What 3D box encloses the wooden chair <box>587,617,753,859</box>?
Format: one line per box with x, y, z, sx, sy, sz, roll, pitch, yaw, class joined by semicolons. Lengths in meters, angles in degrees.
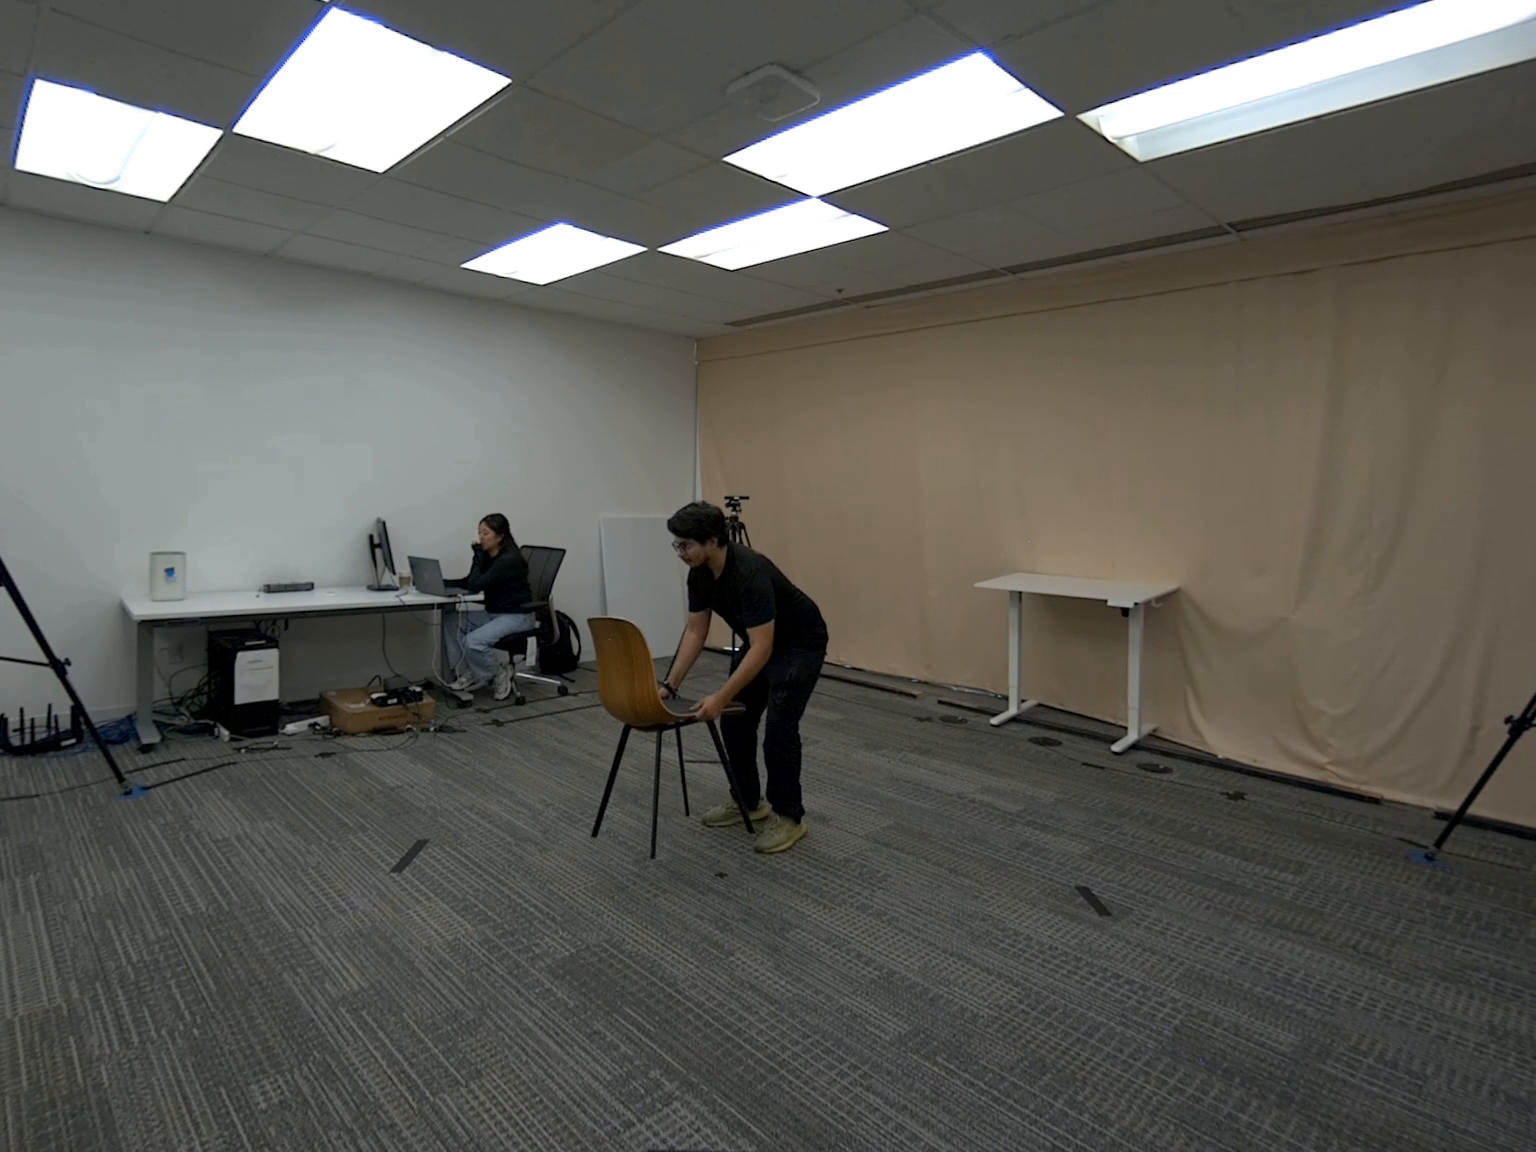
-0.389;0.563;3.233;0.512;0.879;0.487;-5;-2;-38;wooden chair
